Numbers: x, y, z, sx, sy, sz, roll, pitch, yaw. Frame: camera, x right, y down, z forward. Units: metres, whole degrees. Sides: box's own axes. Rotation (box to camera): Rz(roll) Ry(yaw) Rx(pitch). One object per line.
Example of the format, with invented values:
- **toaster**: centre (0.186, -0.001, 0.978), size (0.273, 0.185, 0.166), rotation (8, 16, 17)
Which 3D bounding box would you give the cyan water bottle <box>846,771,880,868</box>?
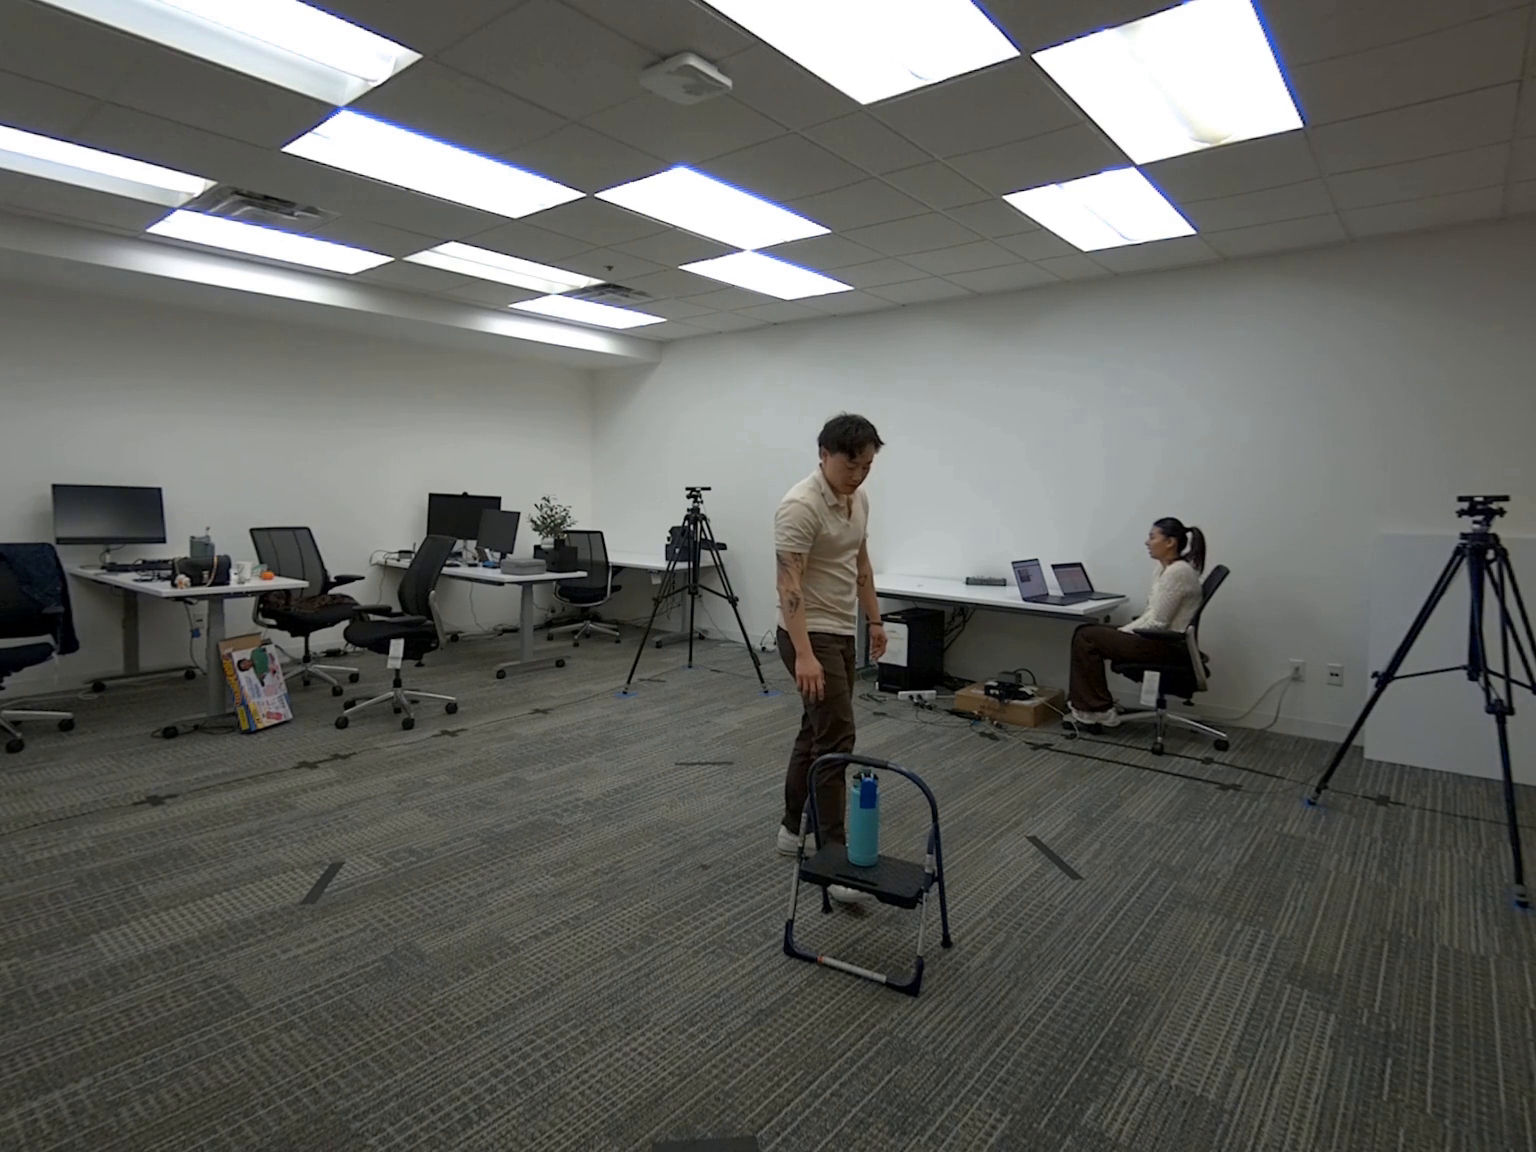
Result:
- **cyan water bottle**: centre (0.276, 0.719, 2.593), size (0.092, 0.282, 0.093), rotation (1, 4, -2)
